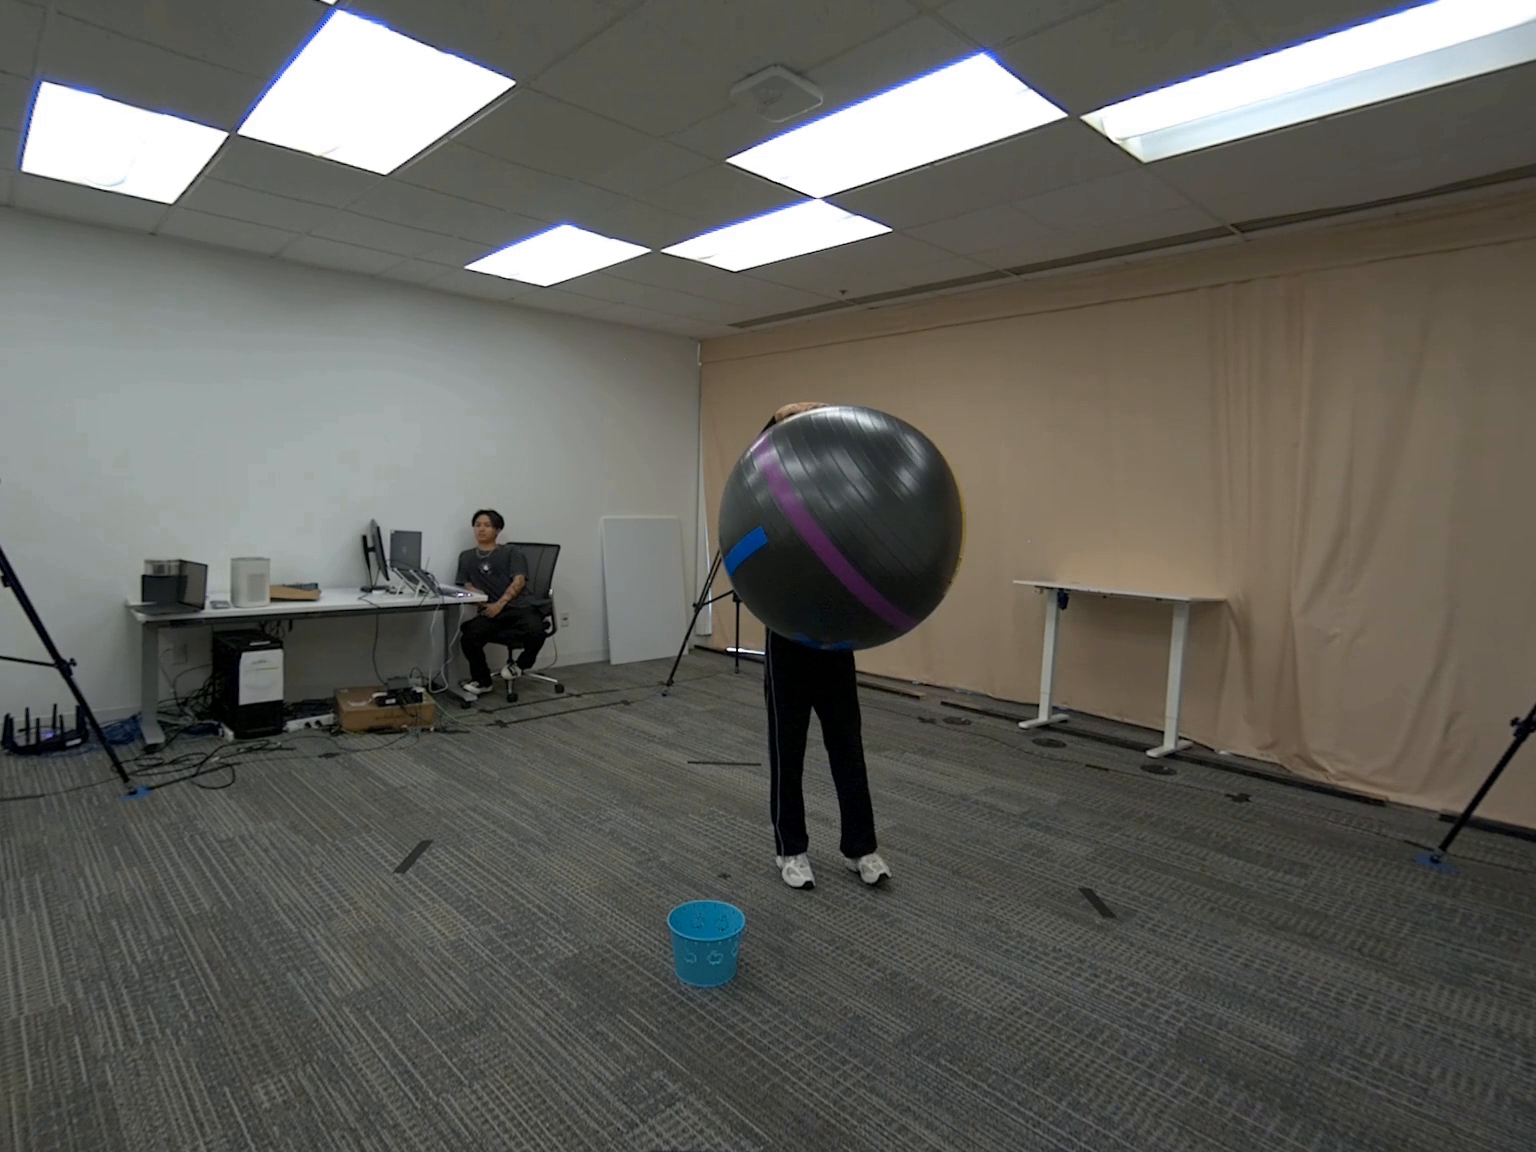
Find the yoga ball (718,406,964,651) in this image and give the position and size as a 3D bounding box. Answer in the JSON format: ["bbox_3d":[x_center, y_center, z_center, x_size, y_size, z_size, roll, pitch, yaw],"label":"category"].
[{"bbox_3d":[0.227,-0.145,2.608,0.757,0.756,0.761,1,4,-1],"label":"yoga ball"}]
